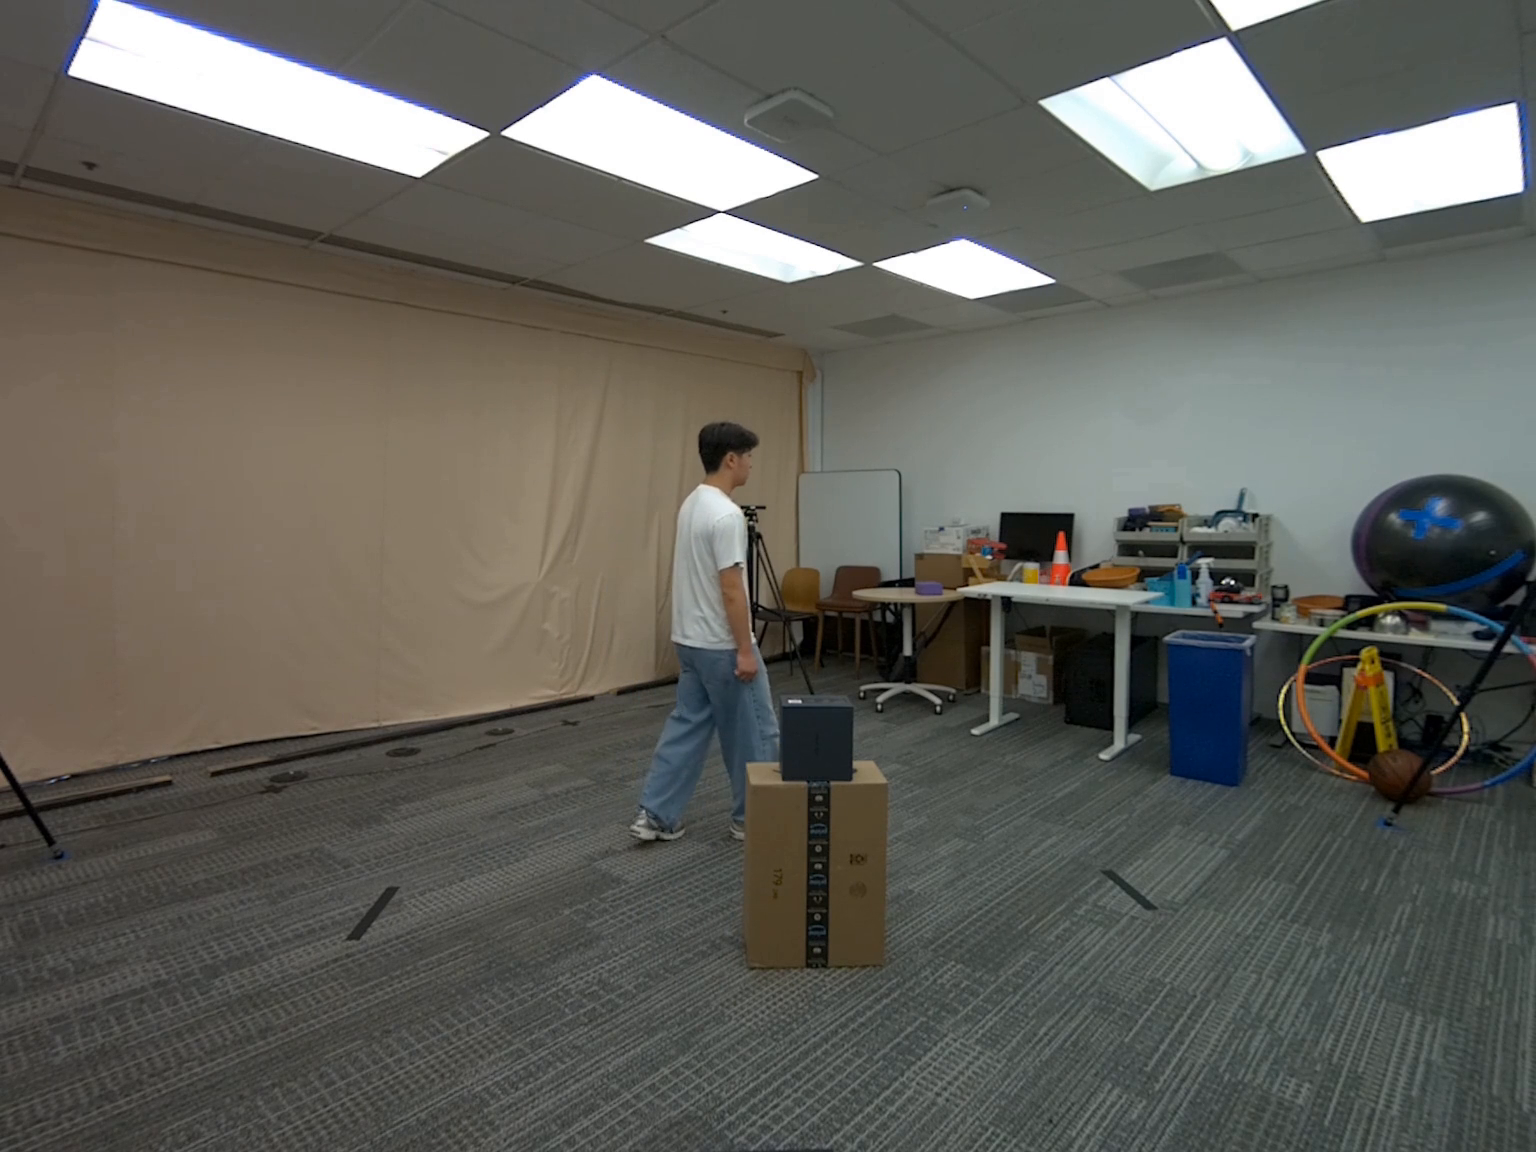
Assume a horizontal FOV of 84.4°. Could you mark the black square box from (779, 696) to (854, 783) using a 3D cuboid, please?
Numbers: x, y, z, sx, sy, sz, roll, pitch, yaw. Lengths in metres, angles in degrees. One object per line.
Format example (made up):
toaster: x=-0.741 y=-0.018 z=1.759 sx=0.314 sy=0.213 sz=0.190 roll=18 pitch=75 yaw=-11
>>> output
black square box: x=0.156 y=0.497 z=2.593 sx=0.218 sy=0.227 sz=0.156 roll=-1 pitch=4 yaw=3
